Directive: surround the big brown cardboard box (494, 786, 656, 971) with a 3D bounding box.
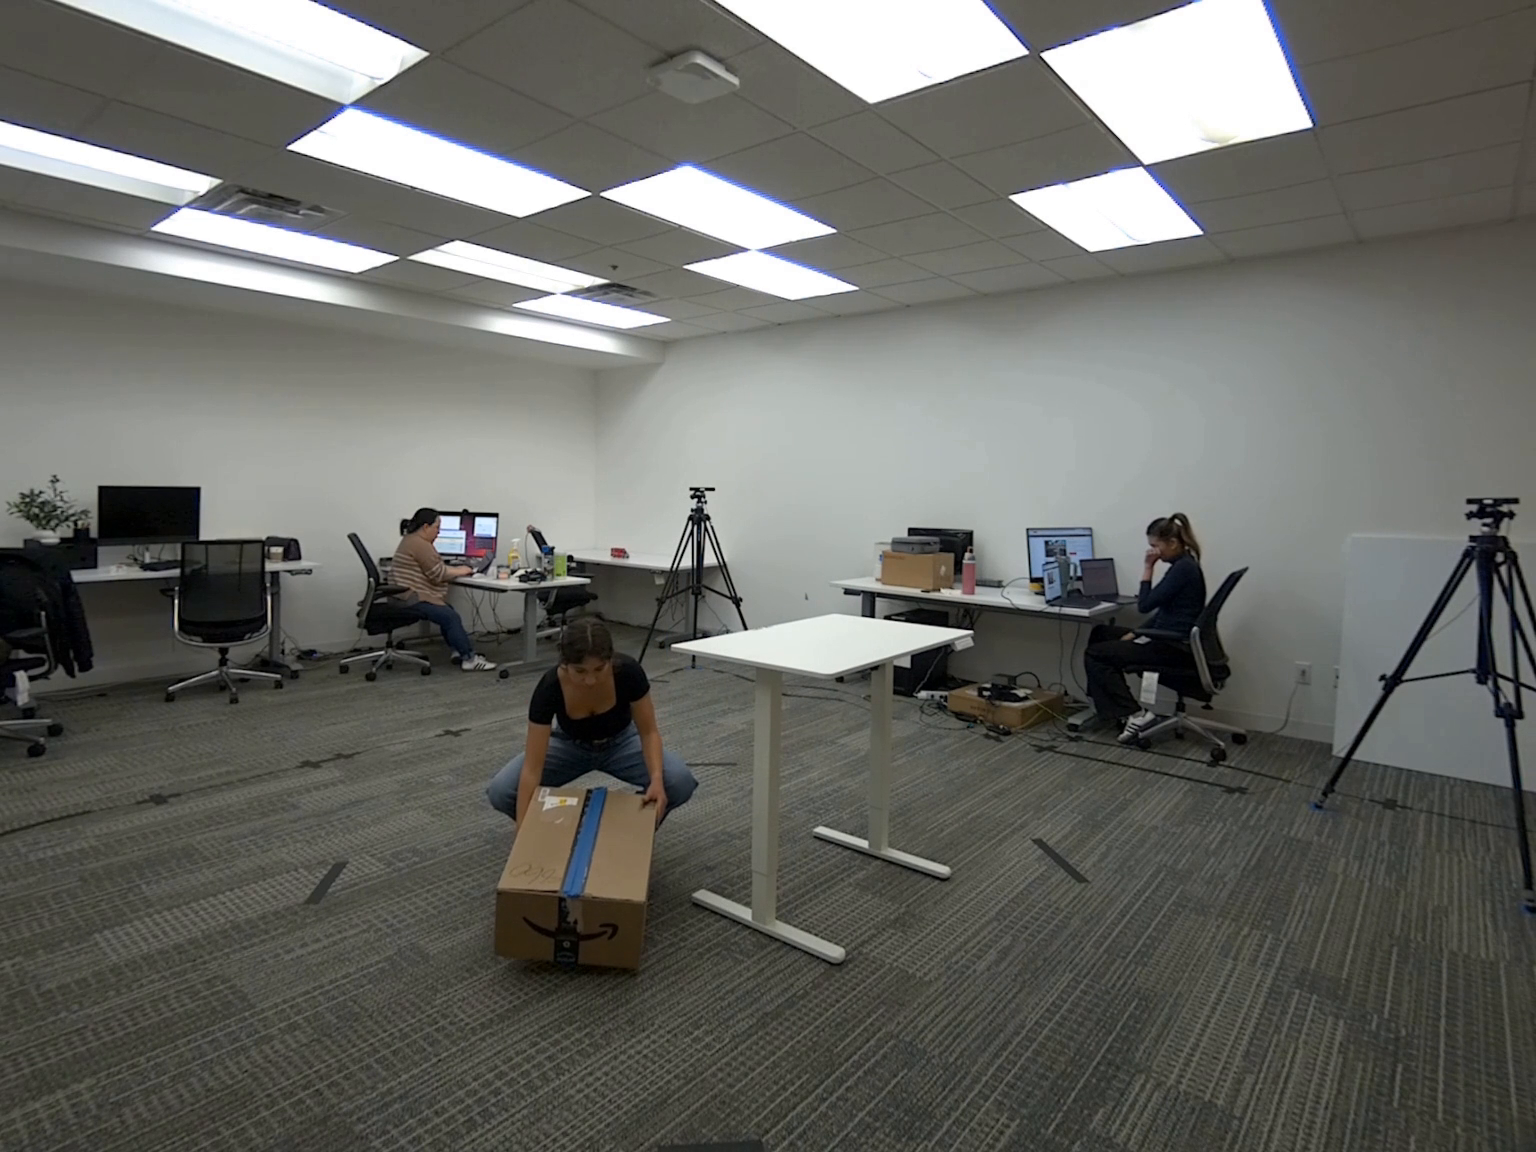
[{"bbox_3d":[-0.585,0.906,2.636,0.416,0.230,0.599,4,15,-5],"label":"big brown cardboard box"}]
